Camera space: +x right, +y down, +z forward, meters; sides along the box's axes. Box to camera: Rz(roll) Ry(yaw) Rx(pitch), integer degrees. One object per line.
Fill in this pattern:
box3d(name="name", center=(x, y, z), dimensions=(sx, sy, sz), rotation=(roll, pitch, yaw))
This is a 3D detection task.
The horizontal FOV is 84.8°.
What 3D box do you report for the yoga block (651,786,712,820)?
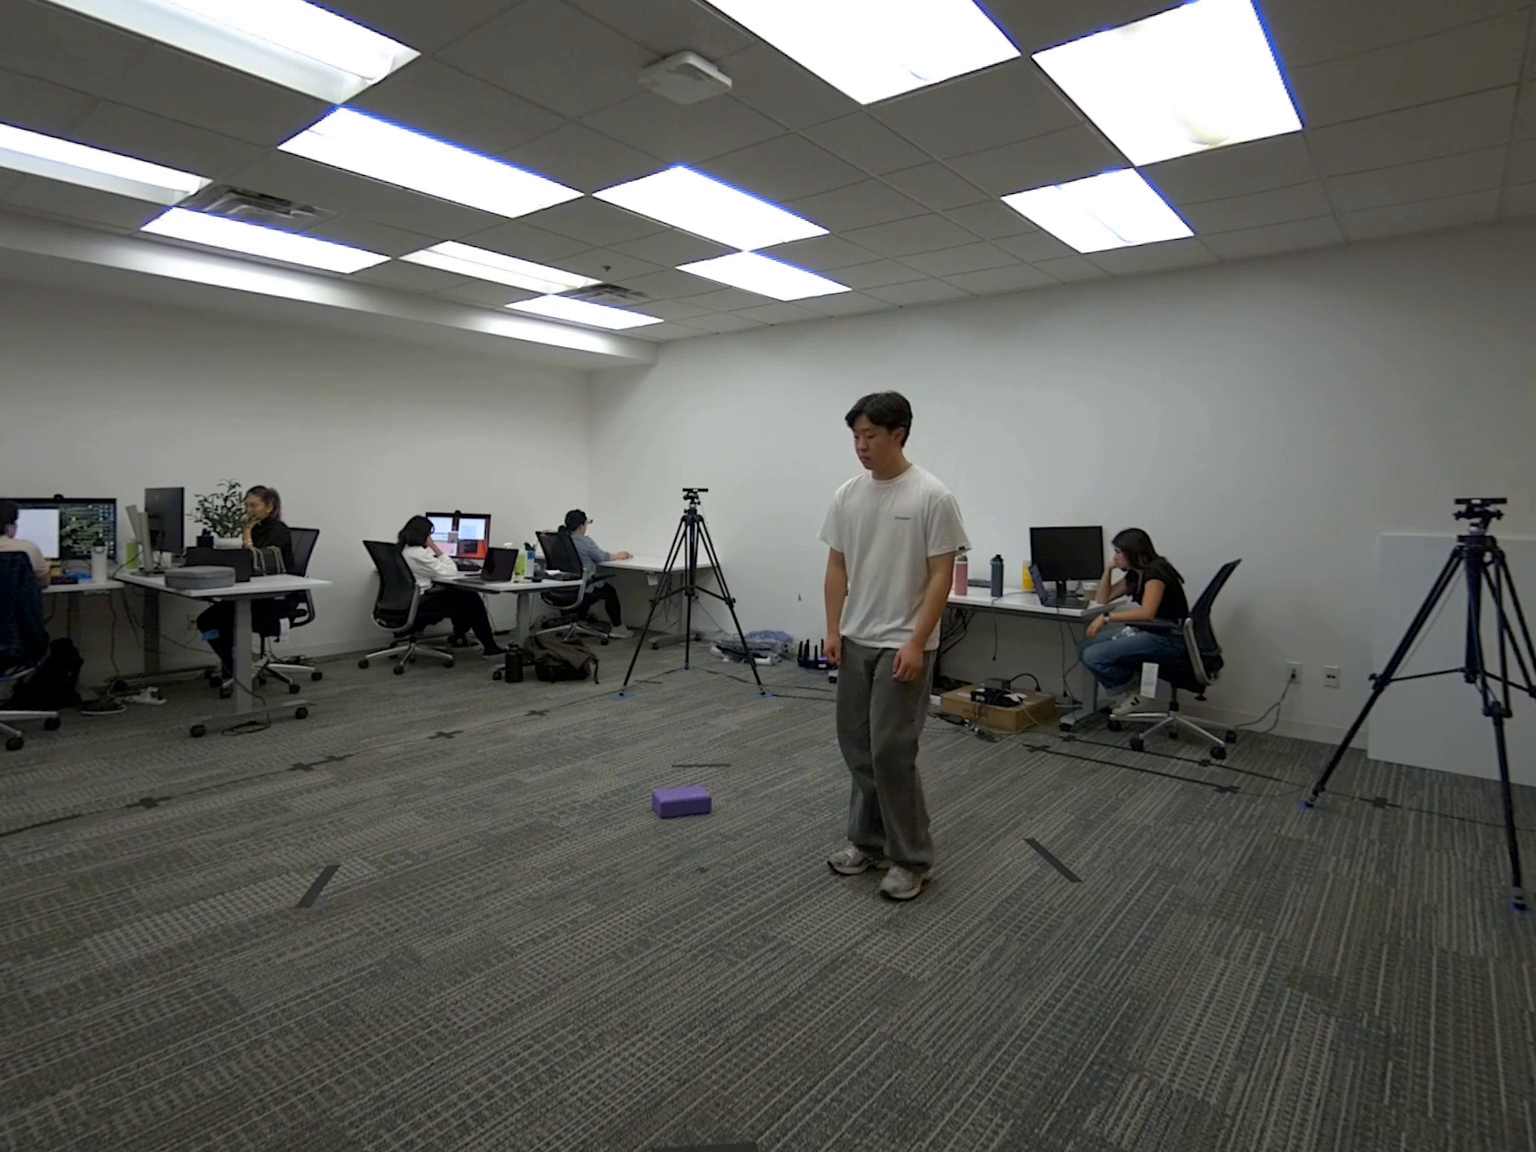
box3d(name="yoga block", center=(-0.372, 0.966, 3.683), dimensions=(0.225, 0.076, 0.152), rotation=(-2, 6, -20))
